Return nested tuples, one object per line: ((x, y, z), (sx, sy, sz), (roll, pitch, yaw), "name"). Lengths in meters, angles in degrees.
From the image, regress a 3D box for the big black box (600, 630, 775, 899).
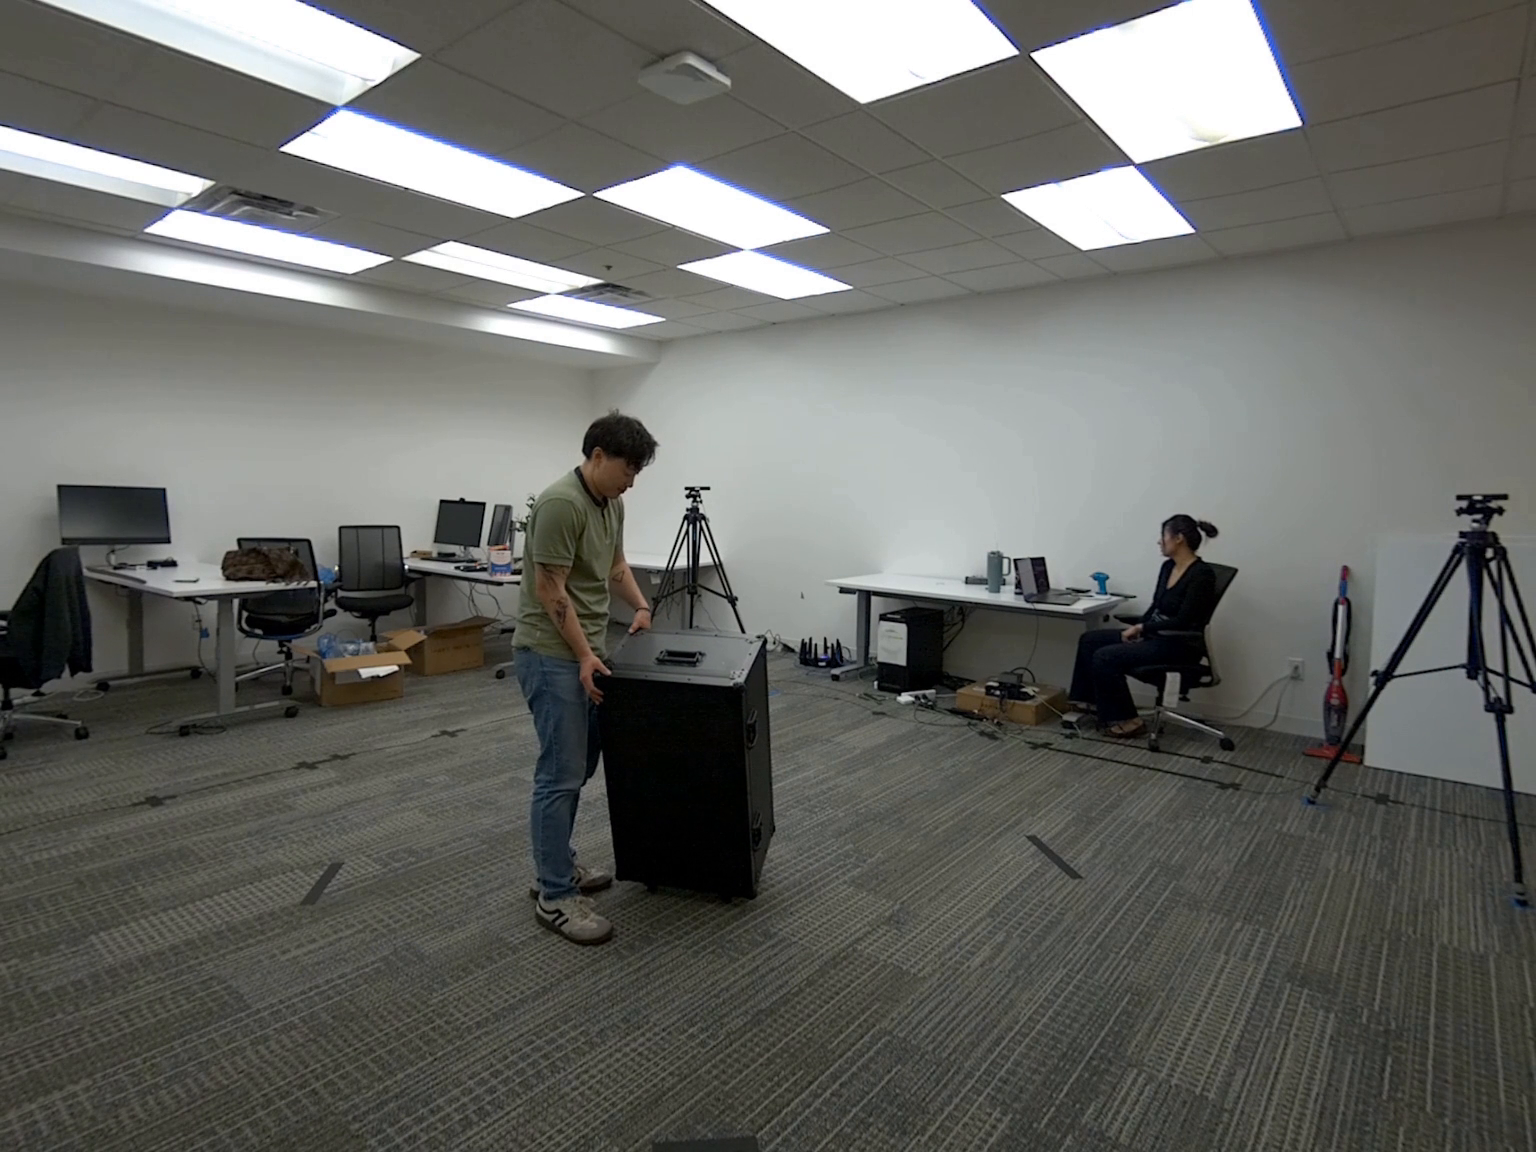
((-0.271, 0.645, 2.884), (0.530, 0.846, 0.397), (2, 20, 14), "big black box")
